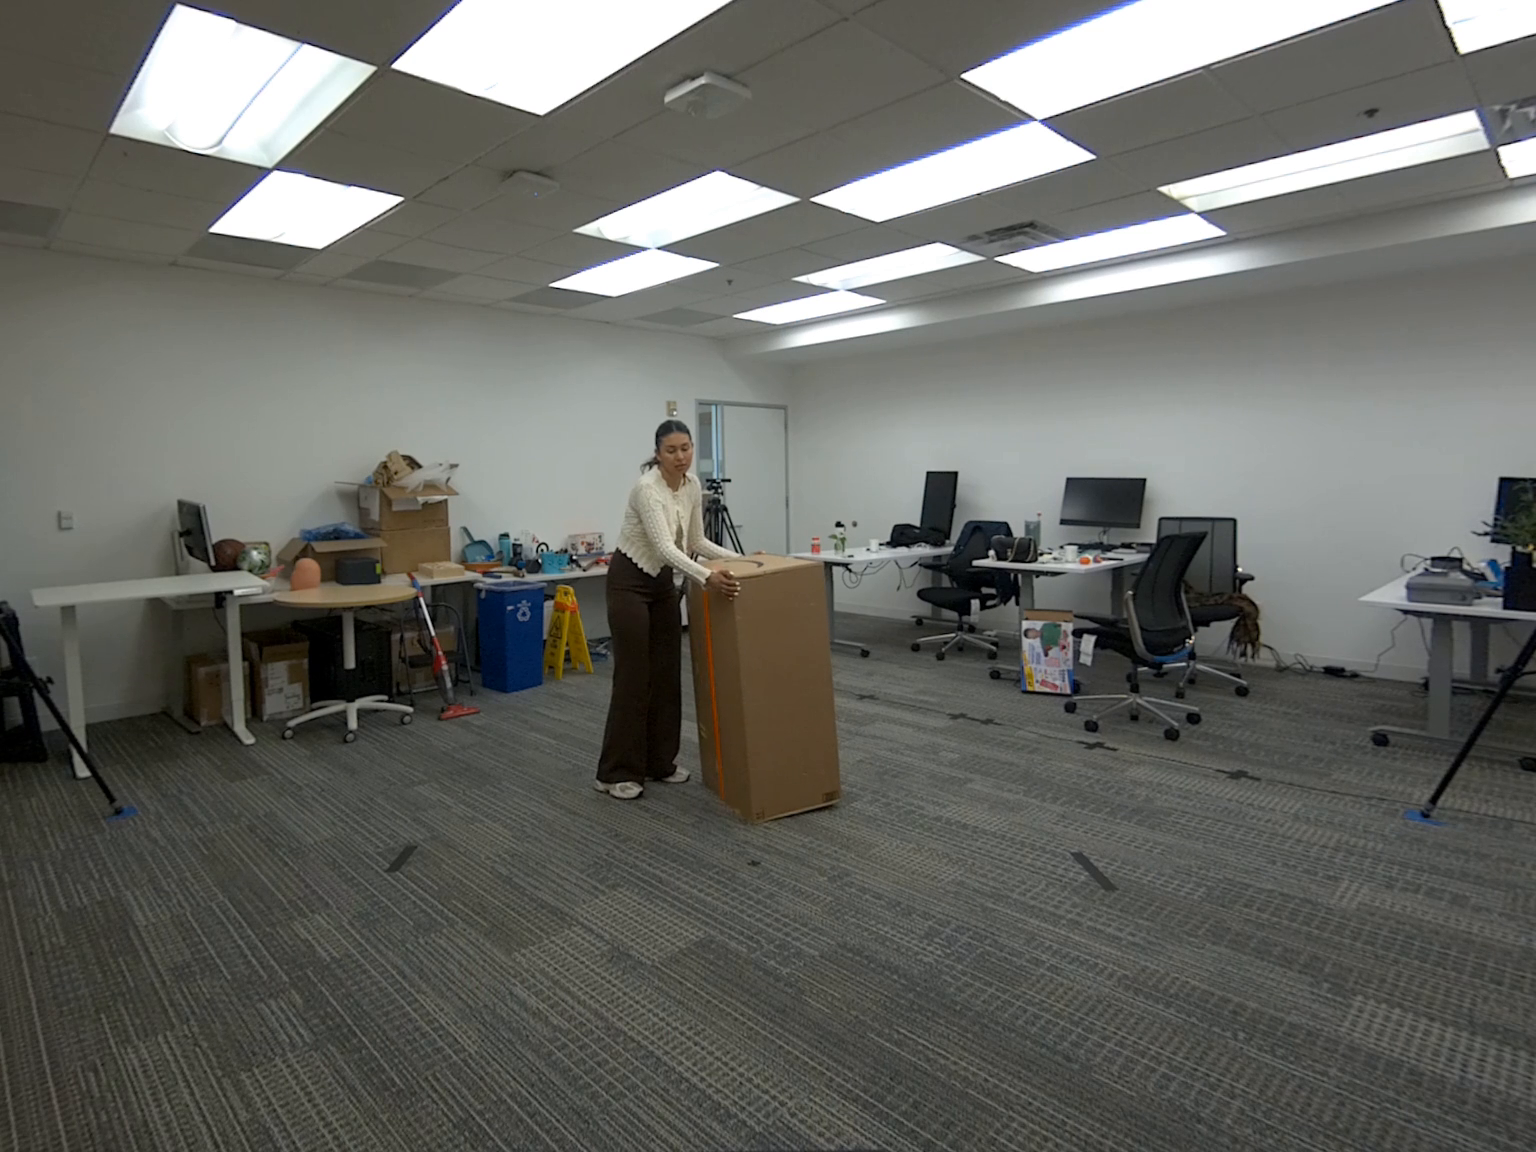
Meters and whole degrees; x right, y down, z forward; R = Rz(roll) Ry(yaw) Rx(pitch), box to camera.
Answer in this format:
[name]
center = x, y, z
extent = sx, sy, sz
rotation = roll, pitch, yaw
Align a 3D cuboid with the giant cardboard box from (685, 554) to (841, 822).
[giant cardboard box]
center = -0.040, 0.454, 3.744
extent = 0.418, 1.021, 0.591
rotation = -7, 5, -23
